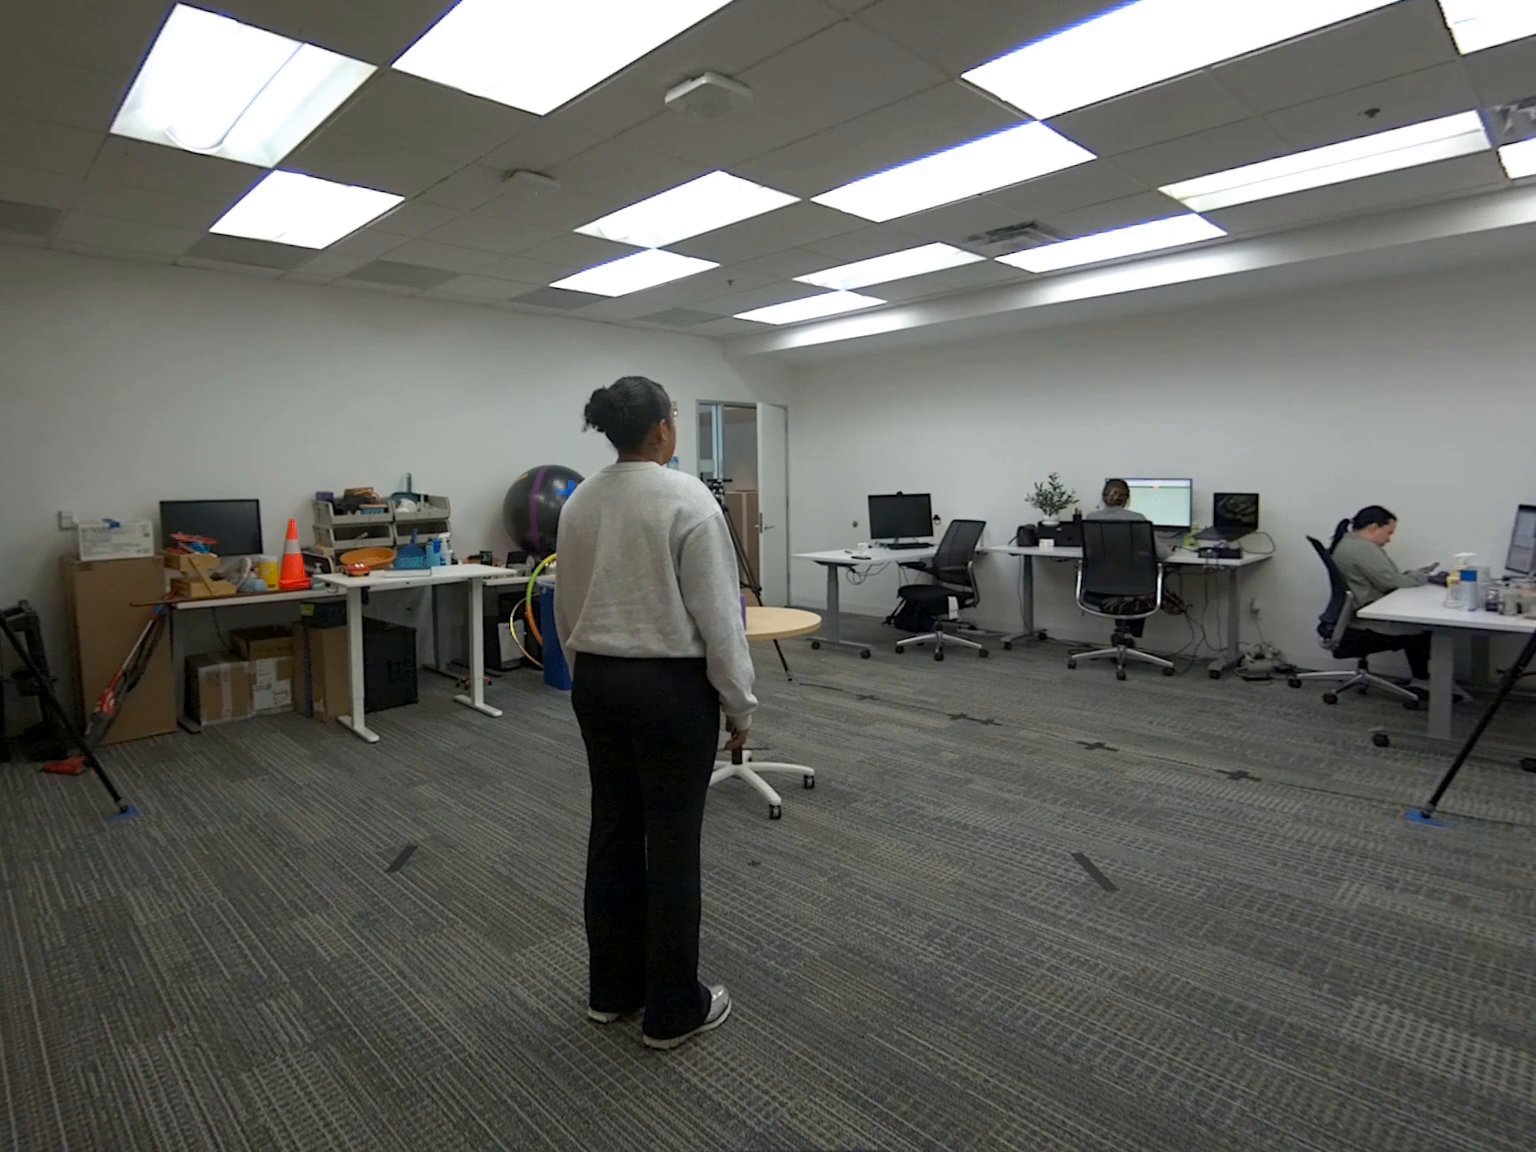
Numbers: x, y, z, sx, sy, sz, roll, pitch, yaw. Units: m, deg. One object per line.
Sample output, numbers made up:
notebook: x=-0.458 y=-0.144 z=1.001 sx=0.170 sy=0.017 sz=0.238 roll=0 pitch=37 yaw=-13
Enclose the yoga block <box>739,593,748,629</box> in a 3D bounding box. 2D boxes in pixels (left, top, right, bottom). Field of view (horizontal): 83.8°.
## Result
yoga block: x=-0.177 y=0.141 z=3.534 sx=0.074 sy=0.148 sz=0.236 roll=-4 pitch=6 yaw=-32
